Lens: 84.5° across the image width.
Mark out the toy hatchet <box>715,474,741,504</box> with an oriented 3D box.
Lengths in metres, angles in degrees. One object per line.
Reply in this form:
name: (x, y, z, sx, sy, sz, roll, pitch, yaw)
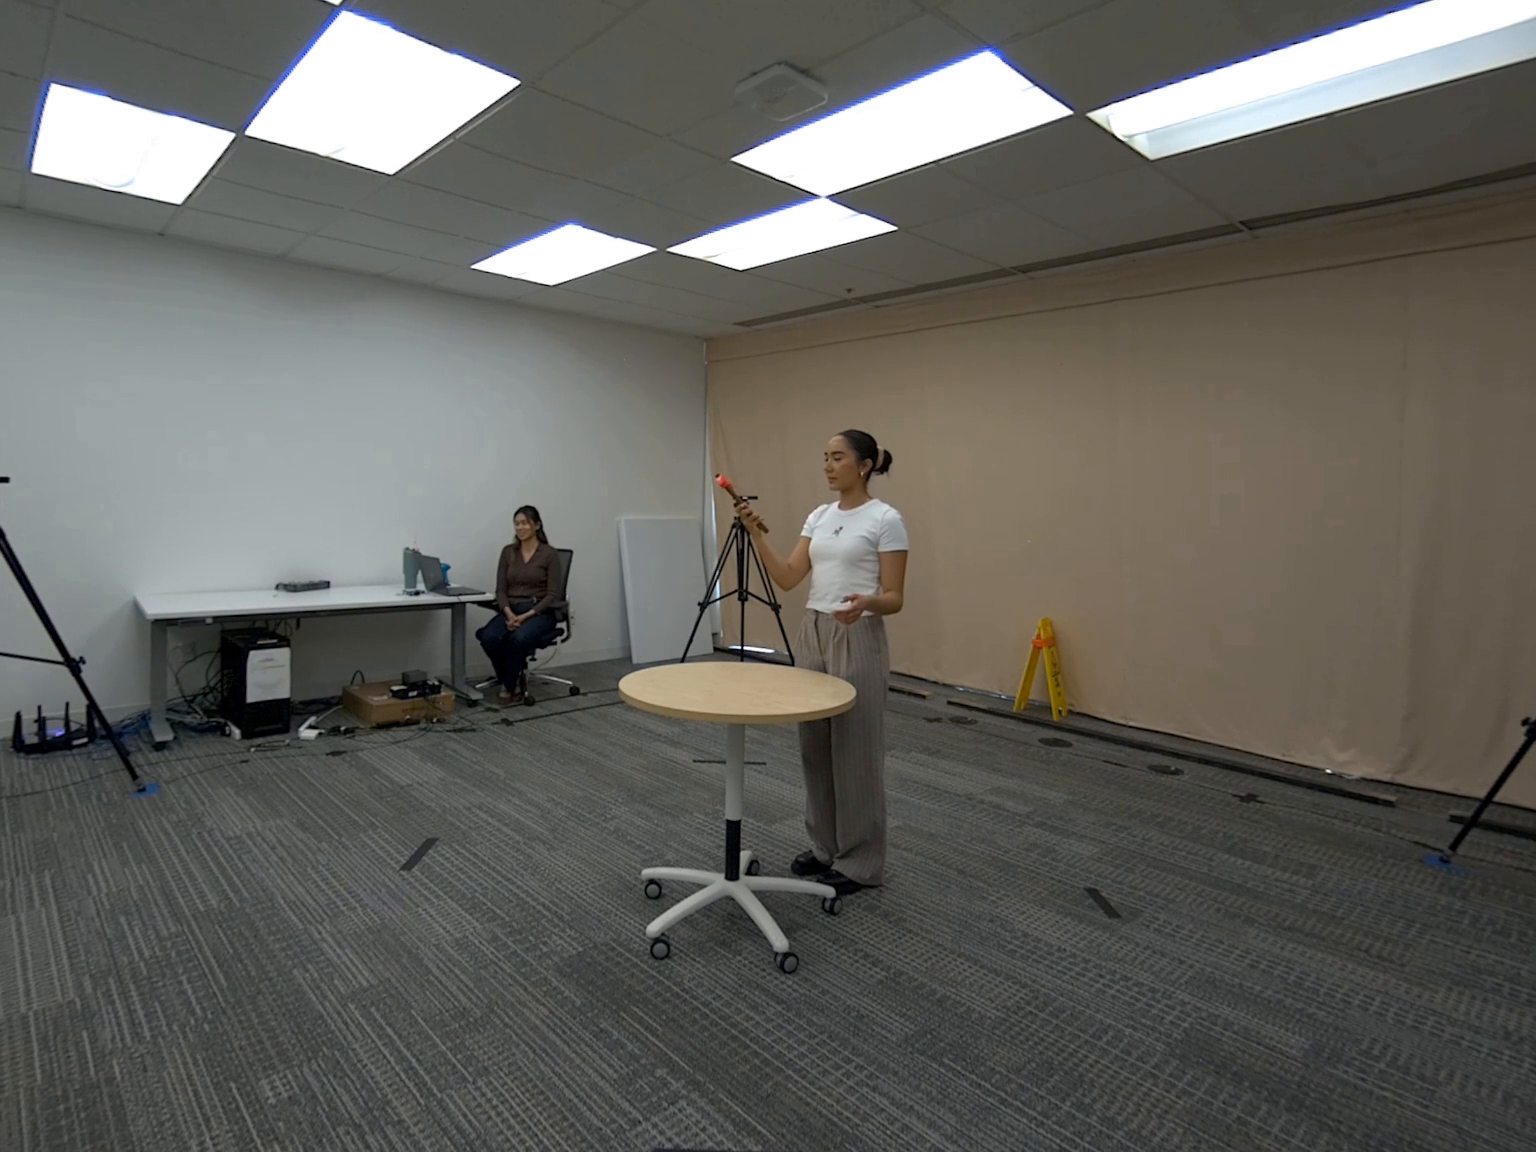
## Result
toy hatchet: (-0.100, -0.267, 2.959, 0.264, 0.029, 0.134, 46, 10, -24)
